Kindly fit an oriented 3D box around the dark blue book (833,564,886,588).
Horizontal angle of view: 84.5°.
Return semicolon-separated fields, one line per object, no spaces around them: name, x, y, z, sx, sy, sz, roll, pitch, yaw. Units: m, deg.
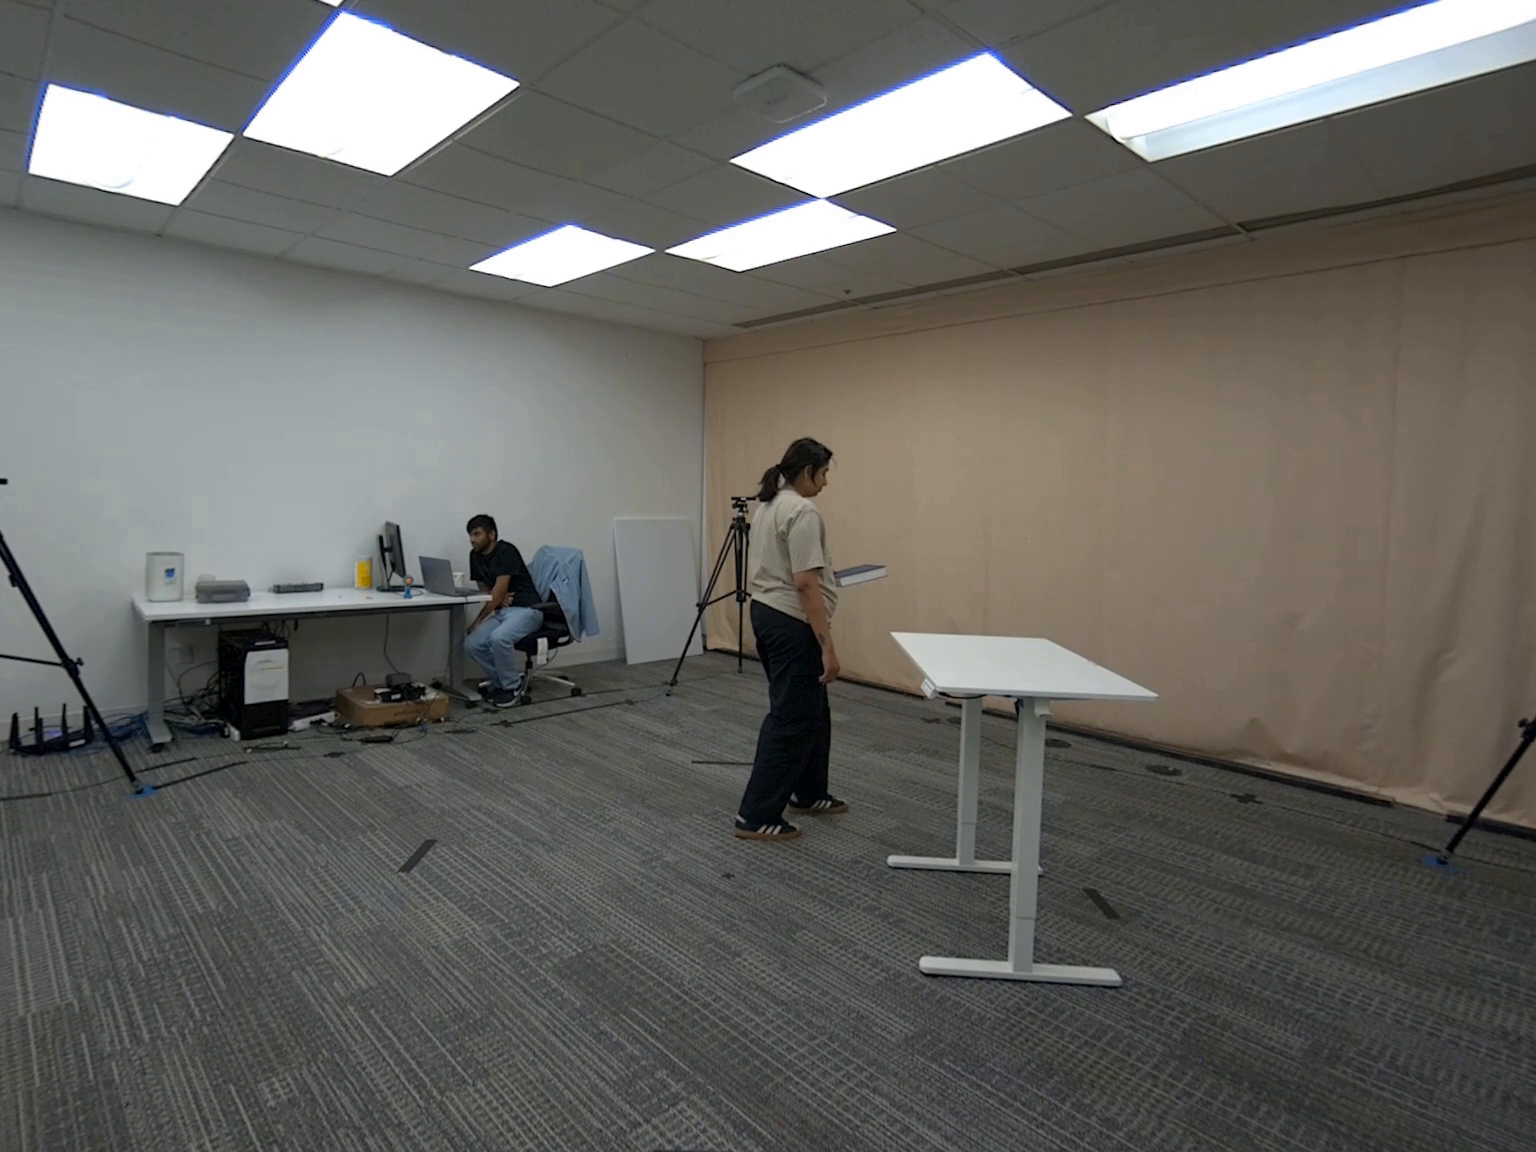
dark blue book;0.362;-0.004;3.714;0.241;0.045;0.167;-13;10;-27
